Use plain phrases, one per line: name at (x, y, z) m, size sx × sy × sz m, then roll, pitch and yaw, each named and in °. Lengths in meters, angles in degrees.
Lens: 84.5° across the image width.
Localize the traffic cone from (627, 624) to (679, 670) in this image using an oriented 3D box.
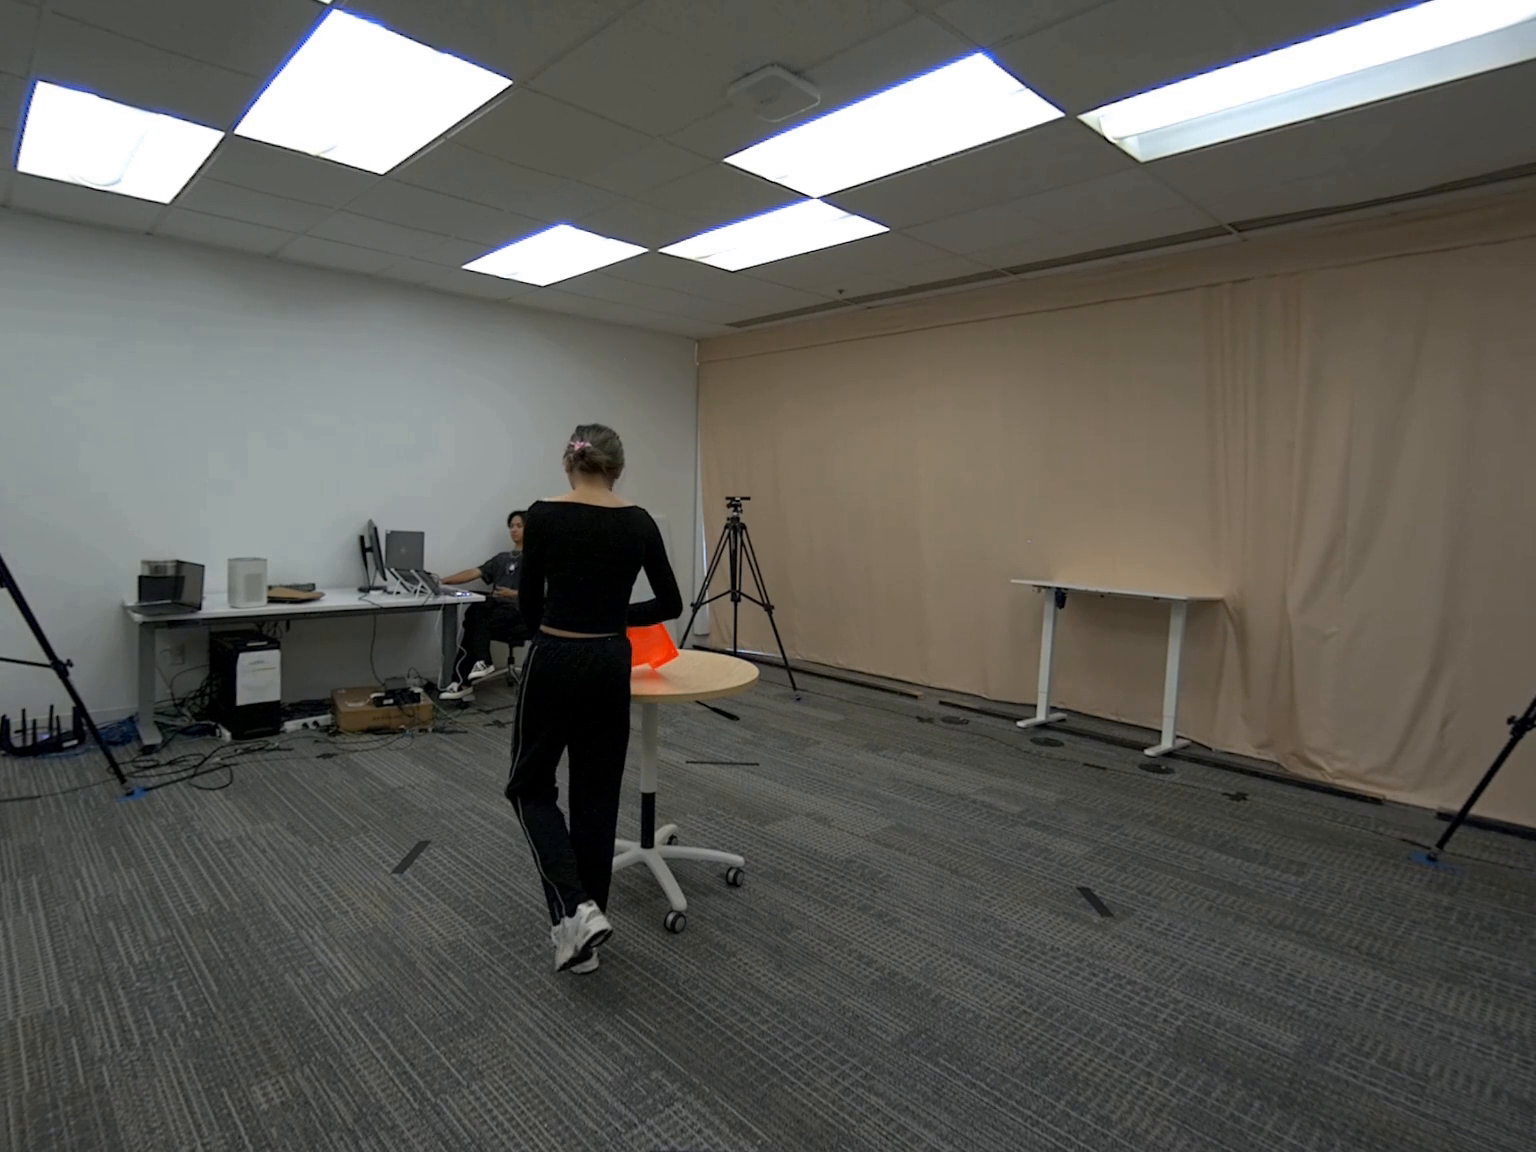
traffic cone at (-0.529, 0.287, 2.778) m, size 0.380 × 0.205 × 0.205 m, roll -29°, pitch -2°, yaw -40°
